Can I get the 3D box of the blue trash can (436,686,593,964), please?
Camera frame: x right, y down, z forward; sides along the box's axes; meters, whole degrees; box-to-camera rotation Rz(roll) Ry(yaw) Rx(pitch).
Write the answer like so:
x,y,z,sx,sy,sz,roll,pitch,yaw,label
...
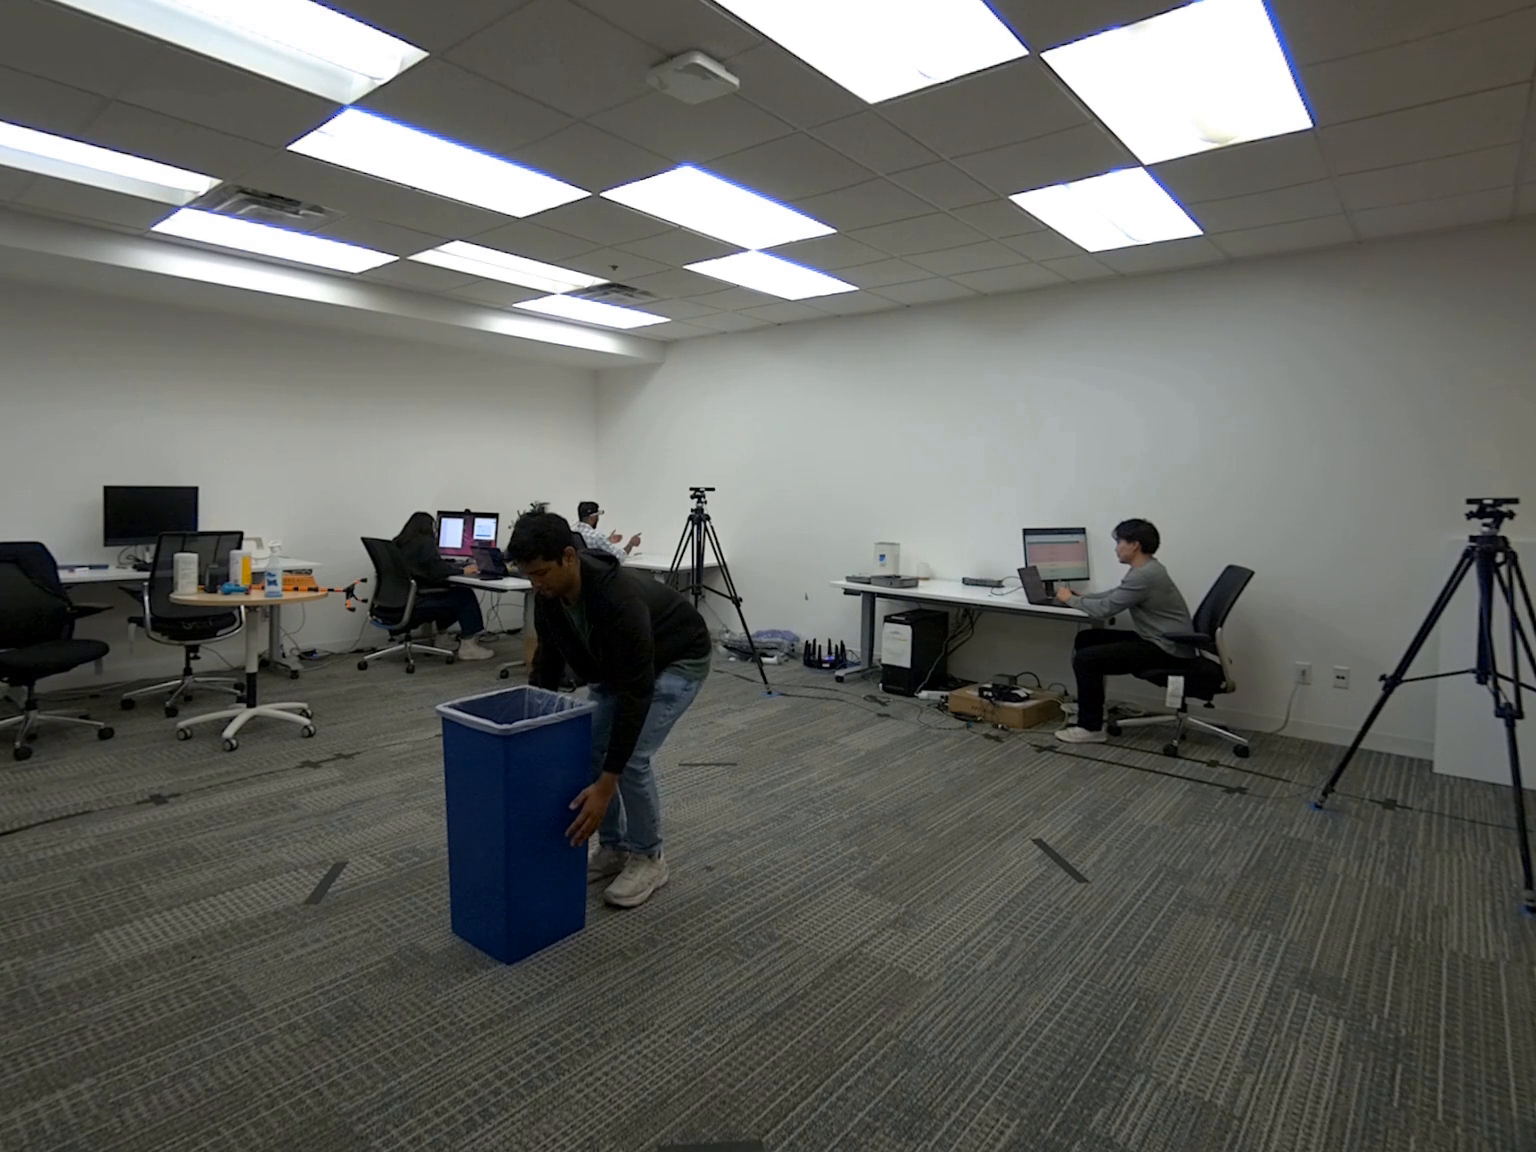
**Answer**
x,y,z,sx,sy,sz,roll,pitch,yaw,label
-0.793,0.751,2.628,0.390,0.711,0.363,3,4,37,blue trash can
